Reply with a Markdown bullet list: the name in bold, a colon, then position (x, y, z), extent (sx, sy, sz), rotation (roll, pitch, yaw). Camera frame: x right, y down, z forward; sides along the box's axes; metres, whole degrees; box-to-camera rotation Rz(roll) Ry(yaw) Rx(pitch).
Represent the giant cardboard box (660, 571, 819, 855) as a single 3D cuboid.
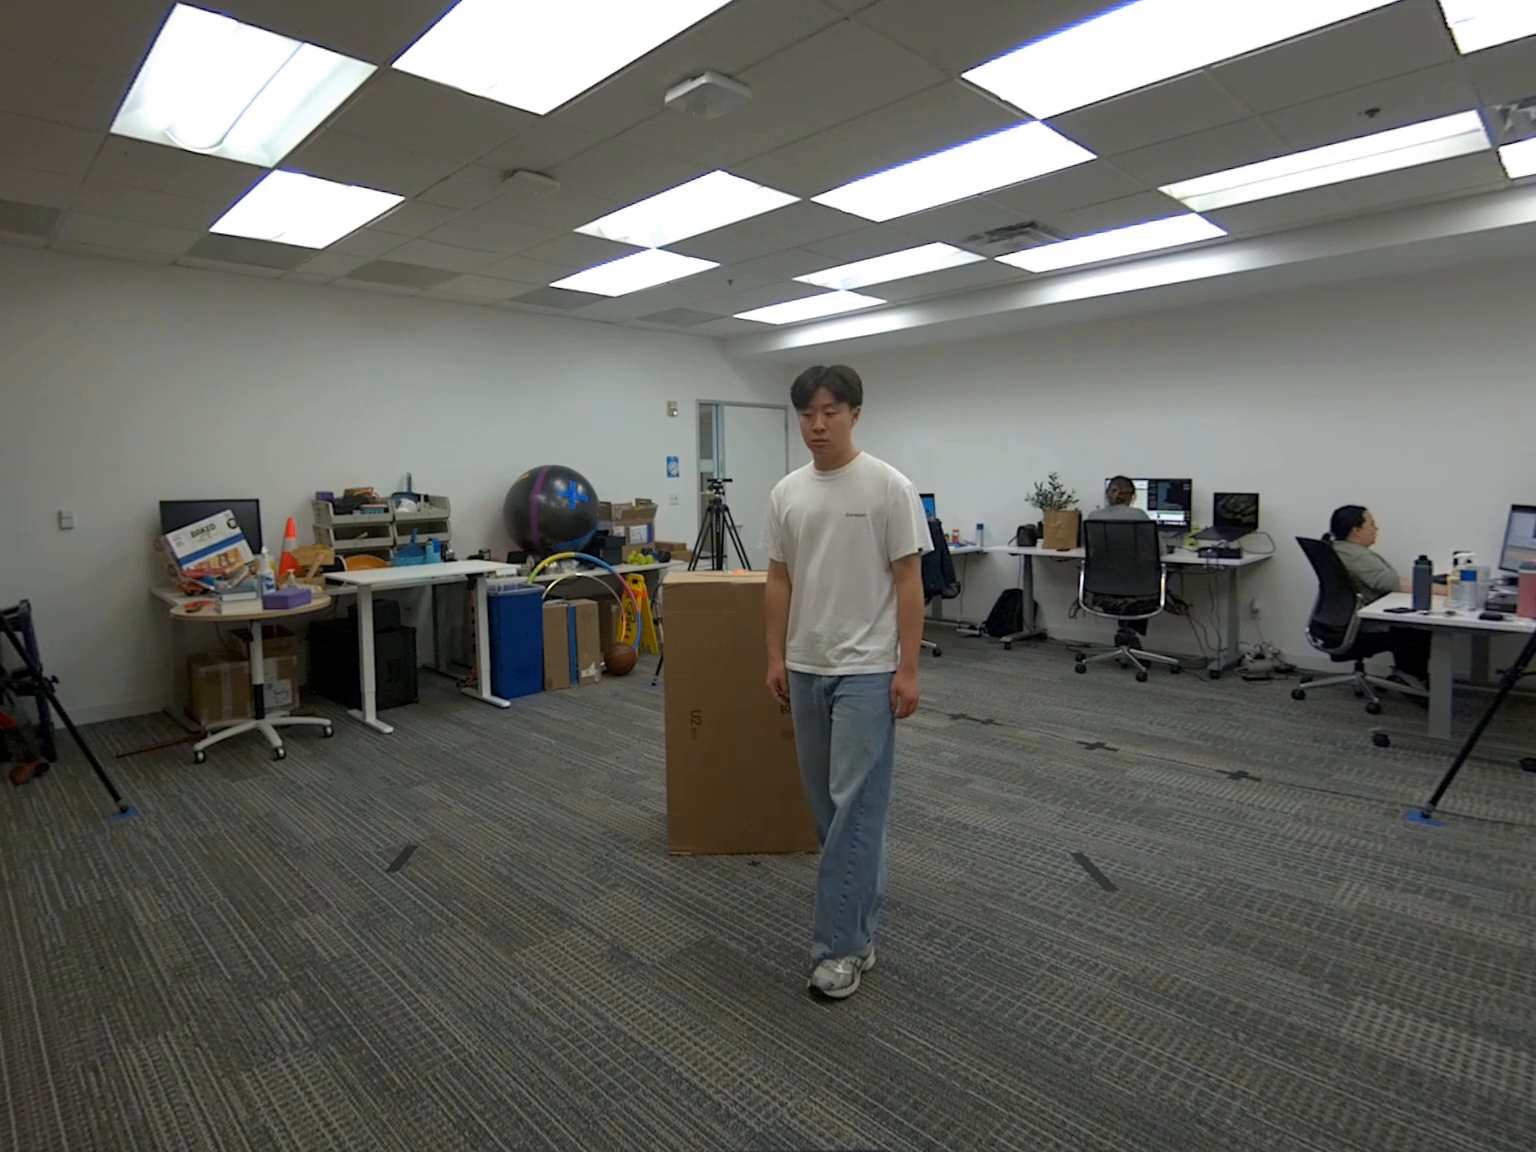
- **giant cardboard box**: position (-0.106, 0.508, 3.366), extent (0.577, 1.022, 0.428), rotation (-1, 4, -2)
